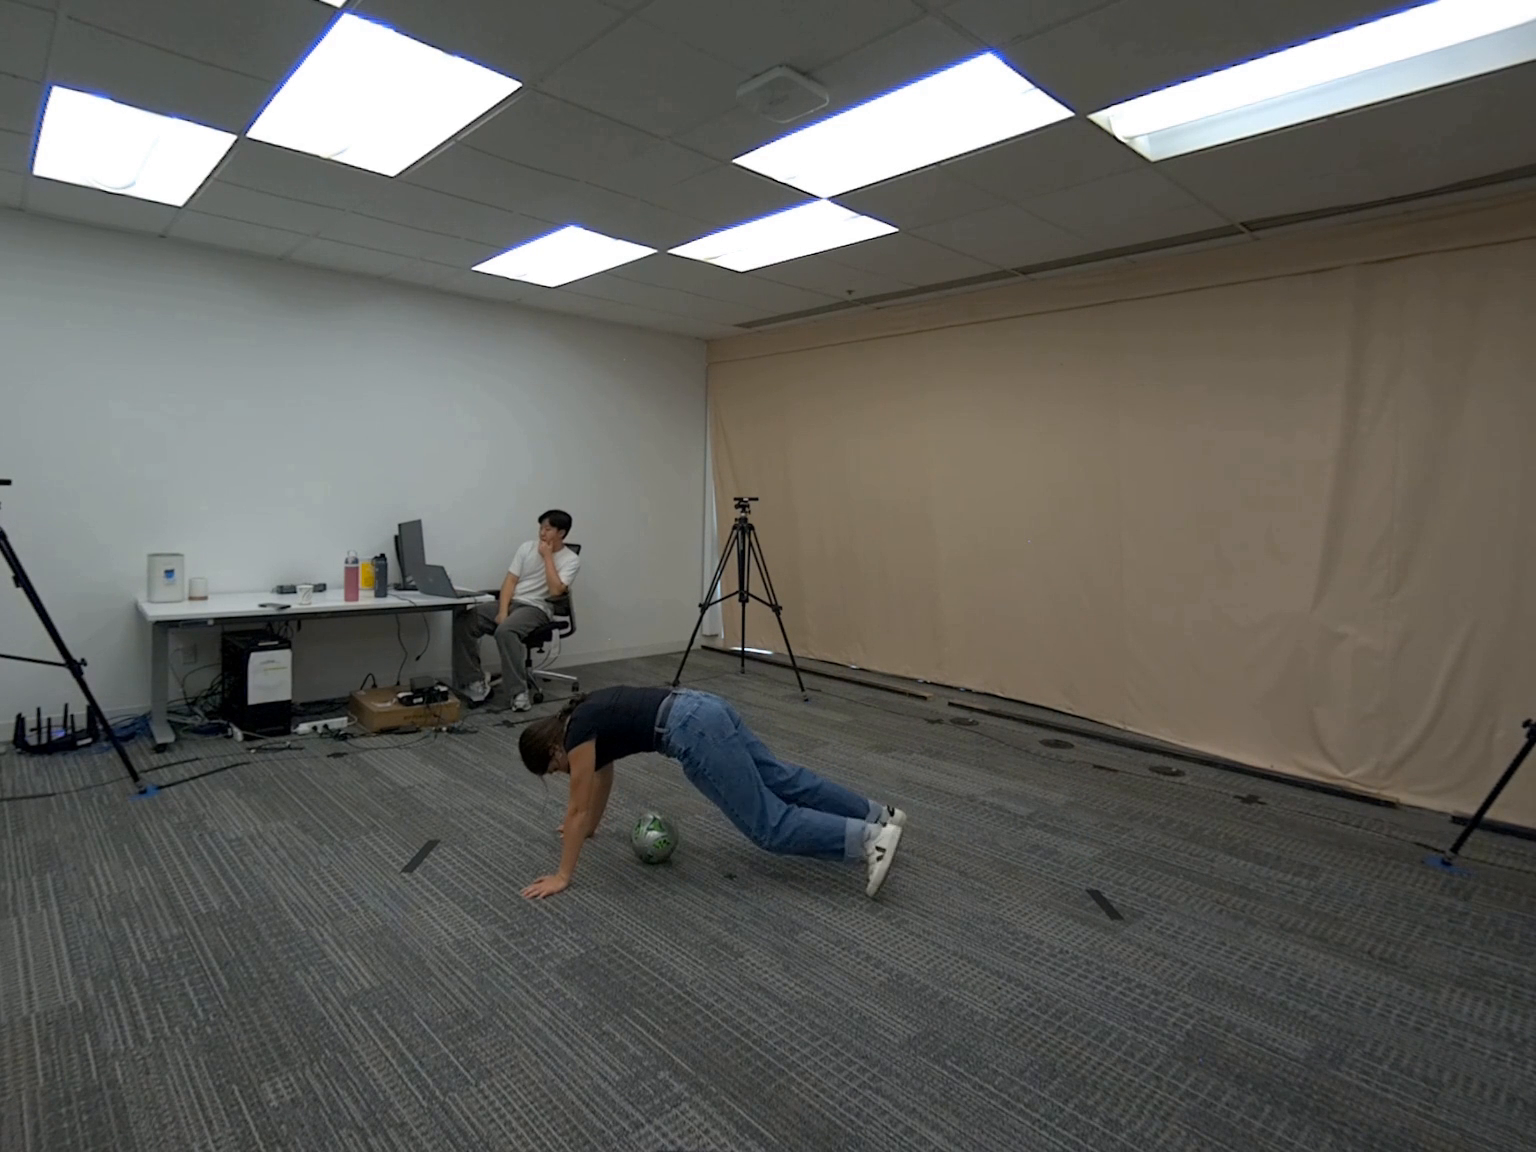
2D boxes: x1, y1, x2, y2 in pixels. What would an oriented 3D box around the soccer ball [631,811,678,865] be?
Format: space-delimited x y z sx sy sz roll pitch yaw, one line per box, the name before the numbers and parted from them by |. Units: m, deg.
soccer ball | -0.440 0.997 3.220 0.187 0.187 0.188 1 4 -1
